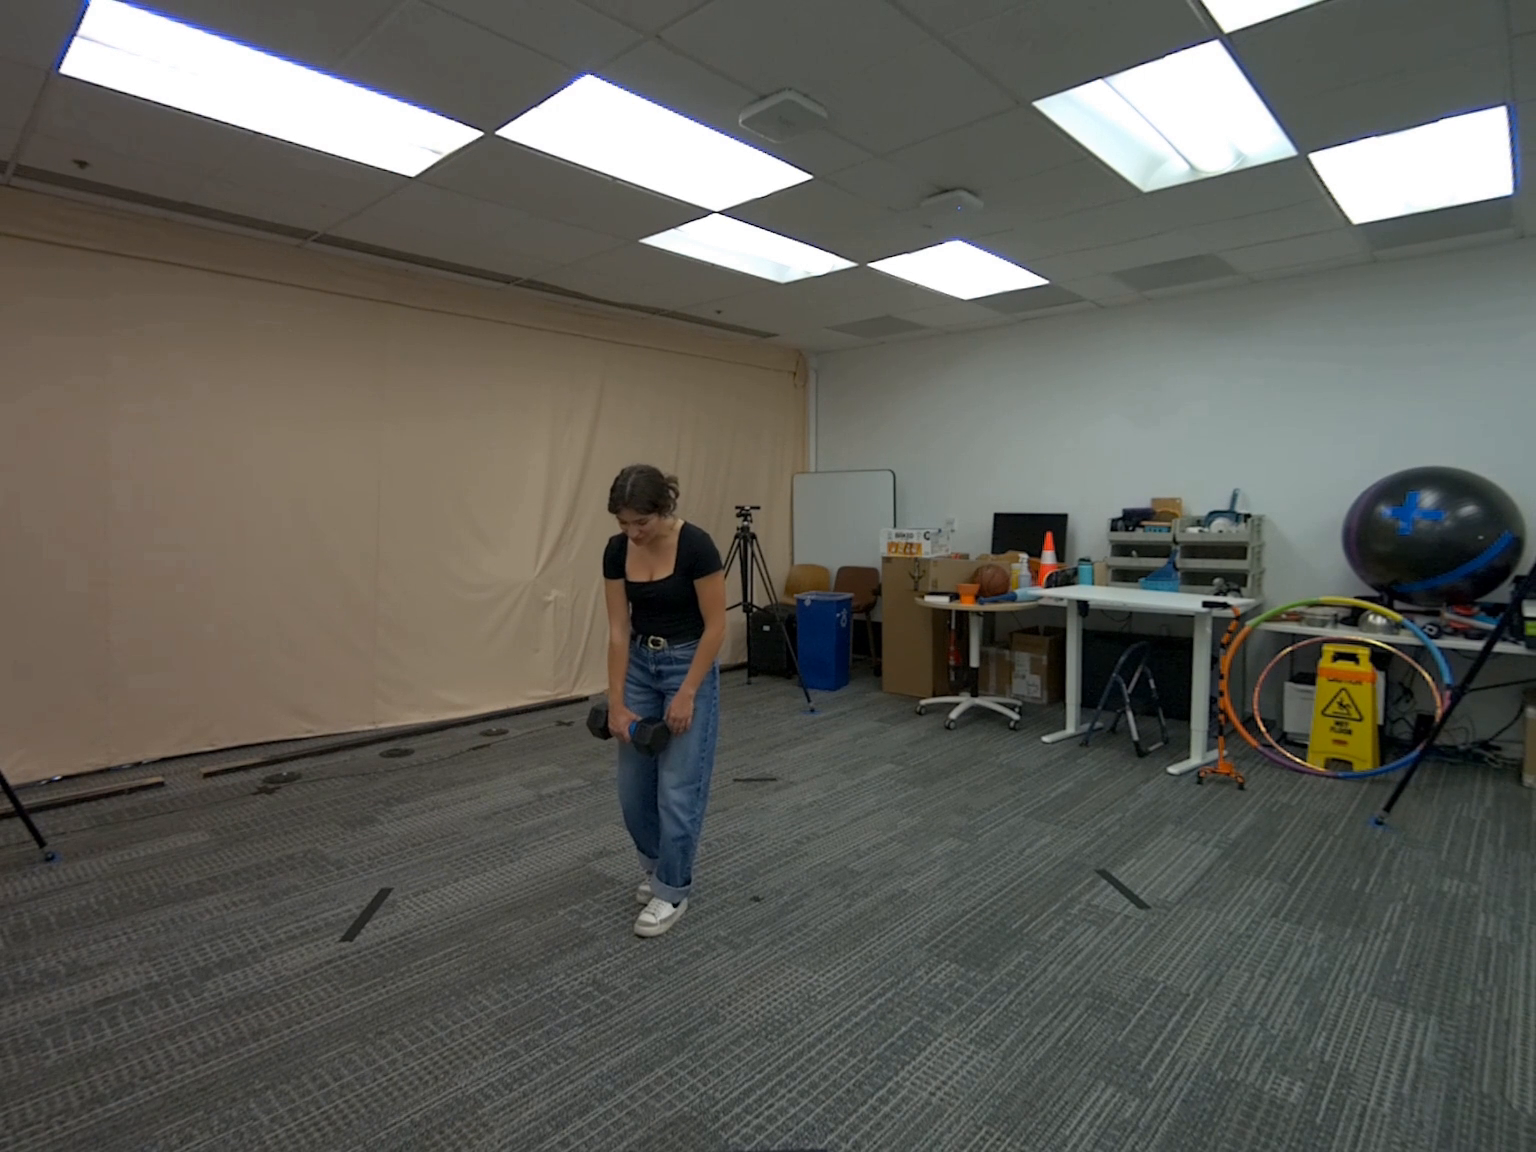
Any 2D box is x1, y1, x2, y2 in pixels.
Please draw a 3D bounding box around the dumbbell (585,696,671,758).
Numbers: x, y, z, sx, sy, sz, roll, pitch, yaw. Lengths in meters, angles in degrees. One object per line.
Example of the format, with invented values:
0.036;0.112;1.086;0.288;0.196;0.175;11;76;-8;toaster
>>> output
-0.465;0.508;2.794;0.303;0.119;0.108;7;44;36;dumbbell
